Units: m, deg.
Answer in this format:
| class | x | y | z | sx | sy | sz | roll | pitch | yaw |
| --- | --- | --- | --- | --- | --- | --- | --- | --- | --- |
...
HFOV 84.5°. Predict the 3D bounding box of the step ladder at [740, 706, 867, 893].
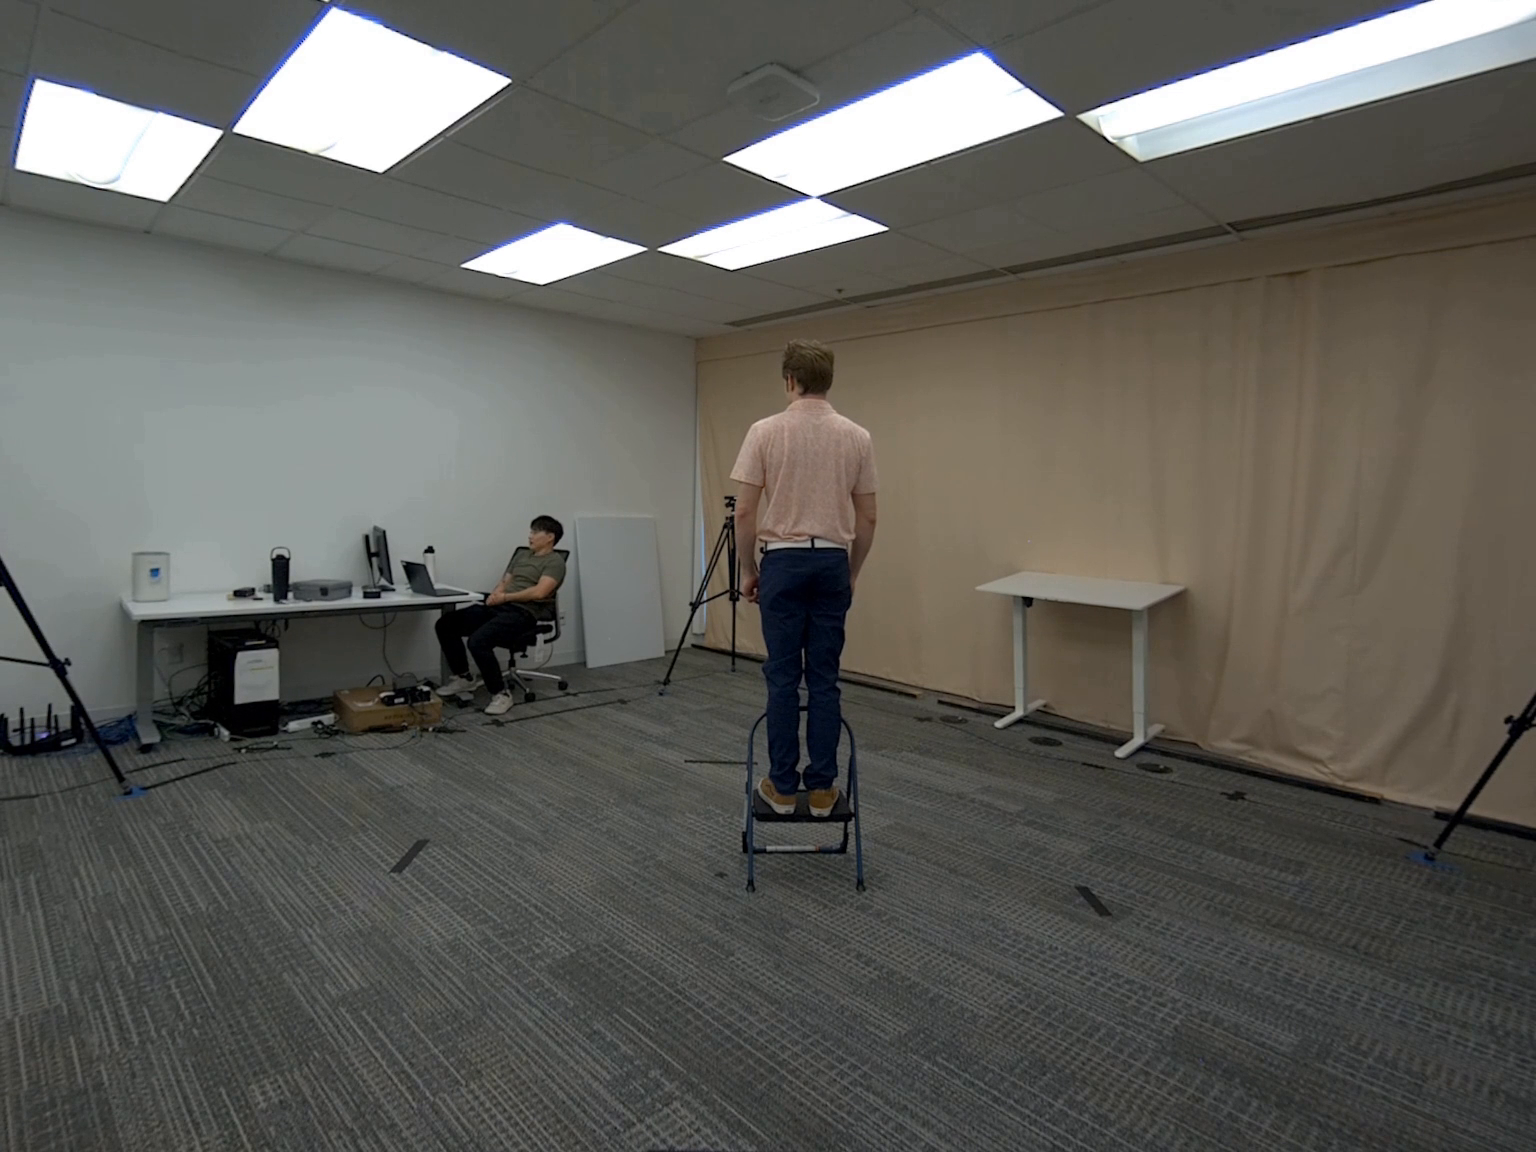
| class | x | y | z | sx | sy | sz | roll | pitch | yaw |
| --- | --- | --- | --- | --- | --- | --- | --- | --- | --- |
| step ladder | 0.122 | 0.807 | 3.149 | 0.429 | 0.604 | 0.351 | 1 | 4 | -5 |
